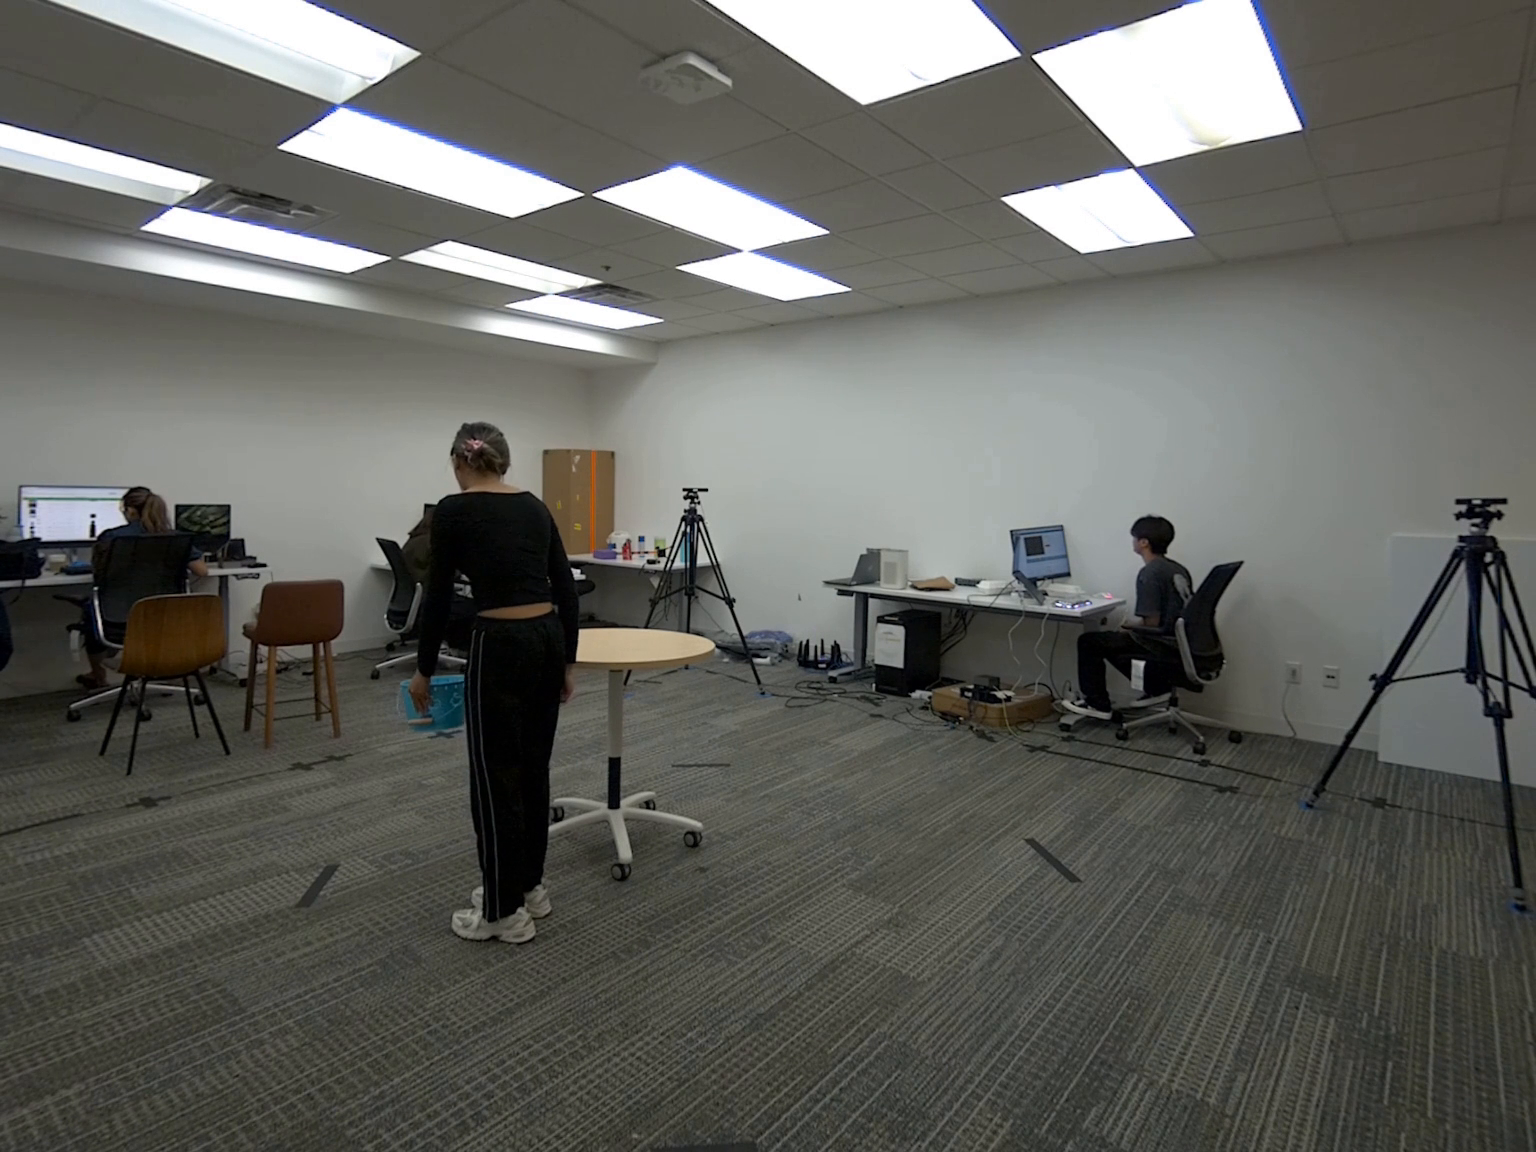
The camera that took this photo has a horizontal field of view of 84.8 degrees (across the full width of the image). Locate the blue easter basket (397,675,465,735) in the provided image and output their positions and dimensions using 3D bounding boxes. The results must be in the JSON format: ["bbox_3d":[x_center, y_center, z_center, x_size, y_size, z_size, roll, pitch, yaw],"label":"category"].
[{"bbox_3d":[-1.120,0.431,2.808,0.243,0.156,0.244,-3,1,-2],"label":"blue easter basket"}]
